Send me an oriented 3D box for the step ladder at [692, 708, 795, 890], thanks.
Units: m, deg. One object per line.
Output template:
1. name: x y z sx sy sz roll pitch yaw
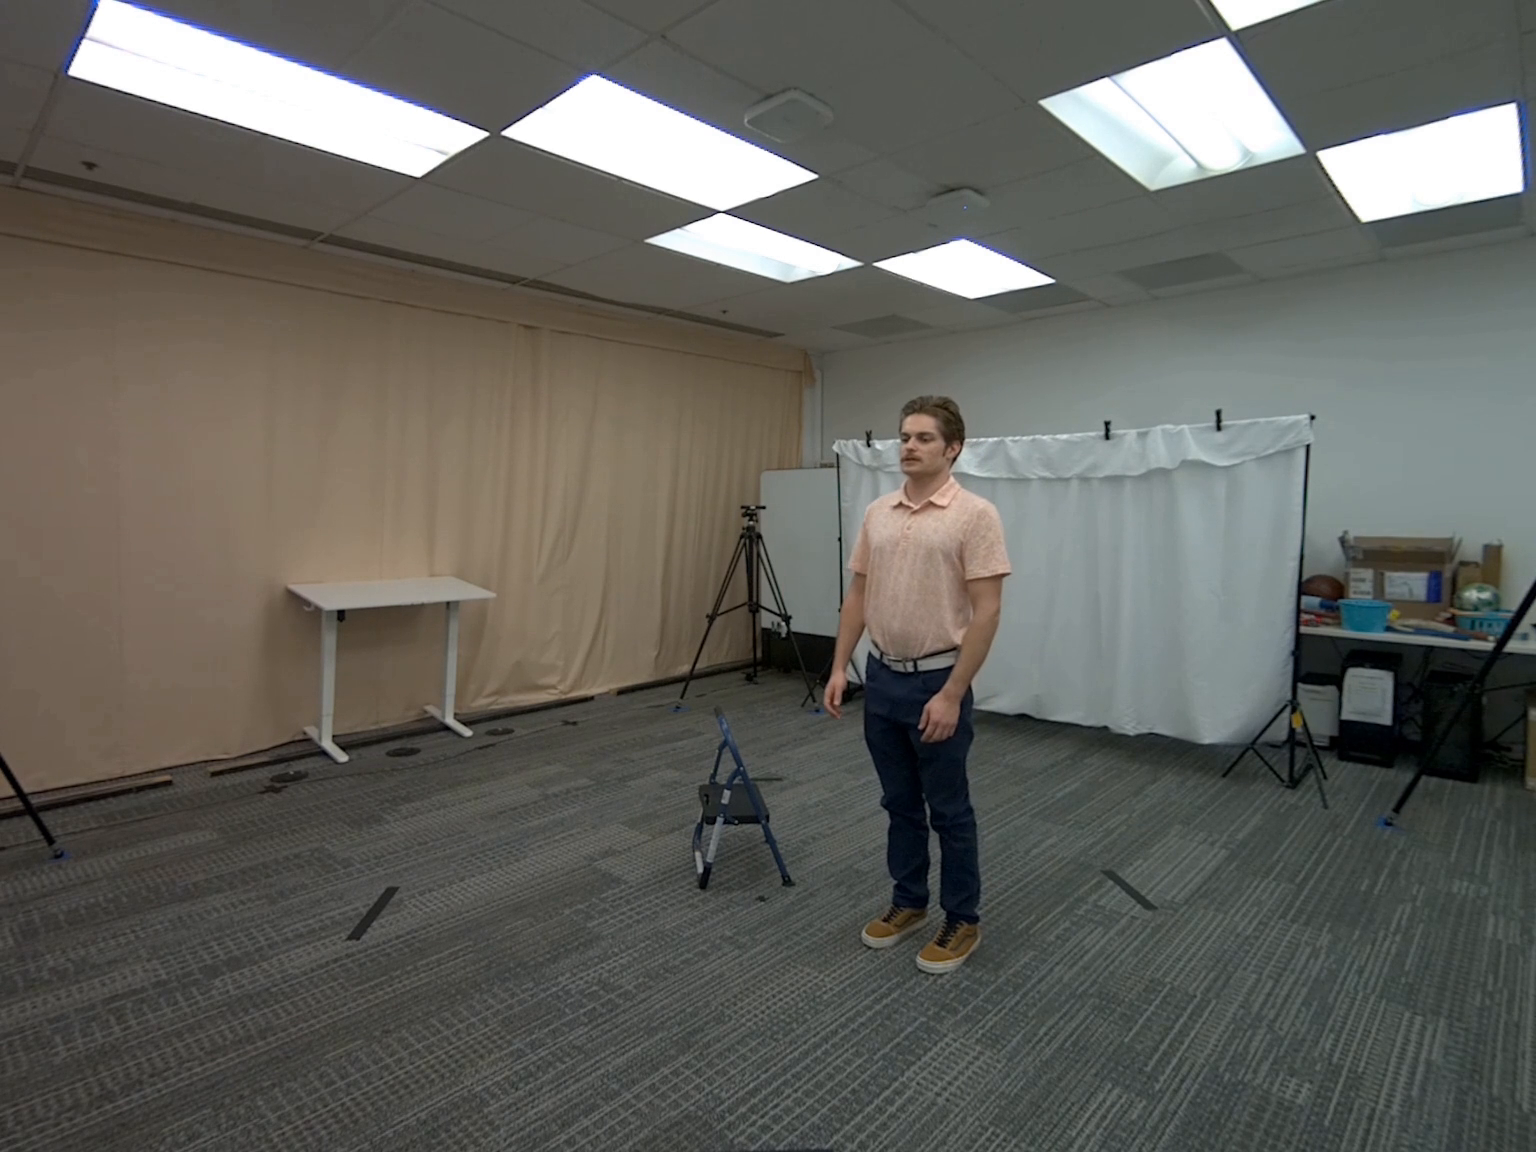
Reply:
1. step ladder: -0.110 0.821 3.259 0.346 0.605 0.435 0 3 -10
